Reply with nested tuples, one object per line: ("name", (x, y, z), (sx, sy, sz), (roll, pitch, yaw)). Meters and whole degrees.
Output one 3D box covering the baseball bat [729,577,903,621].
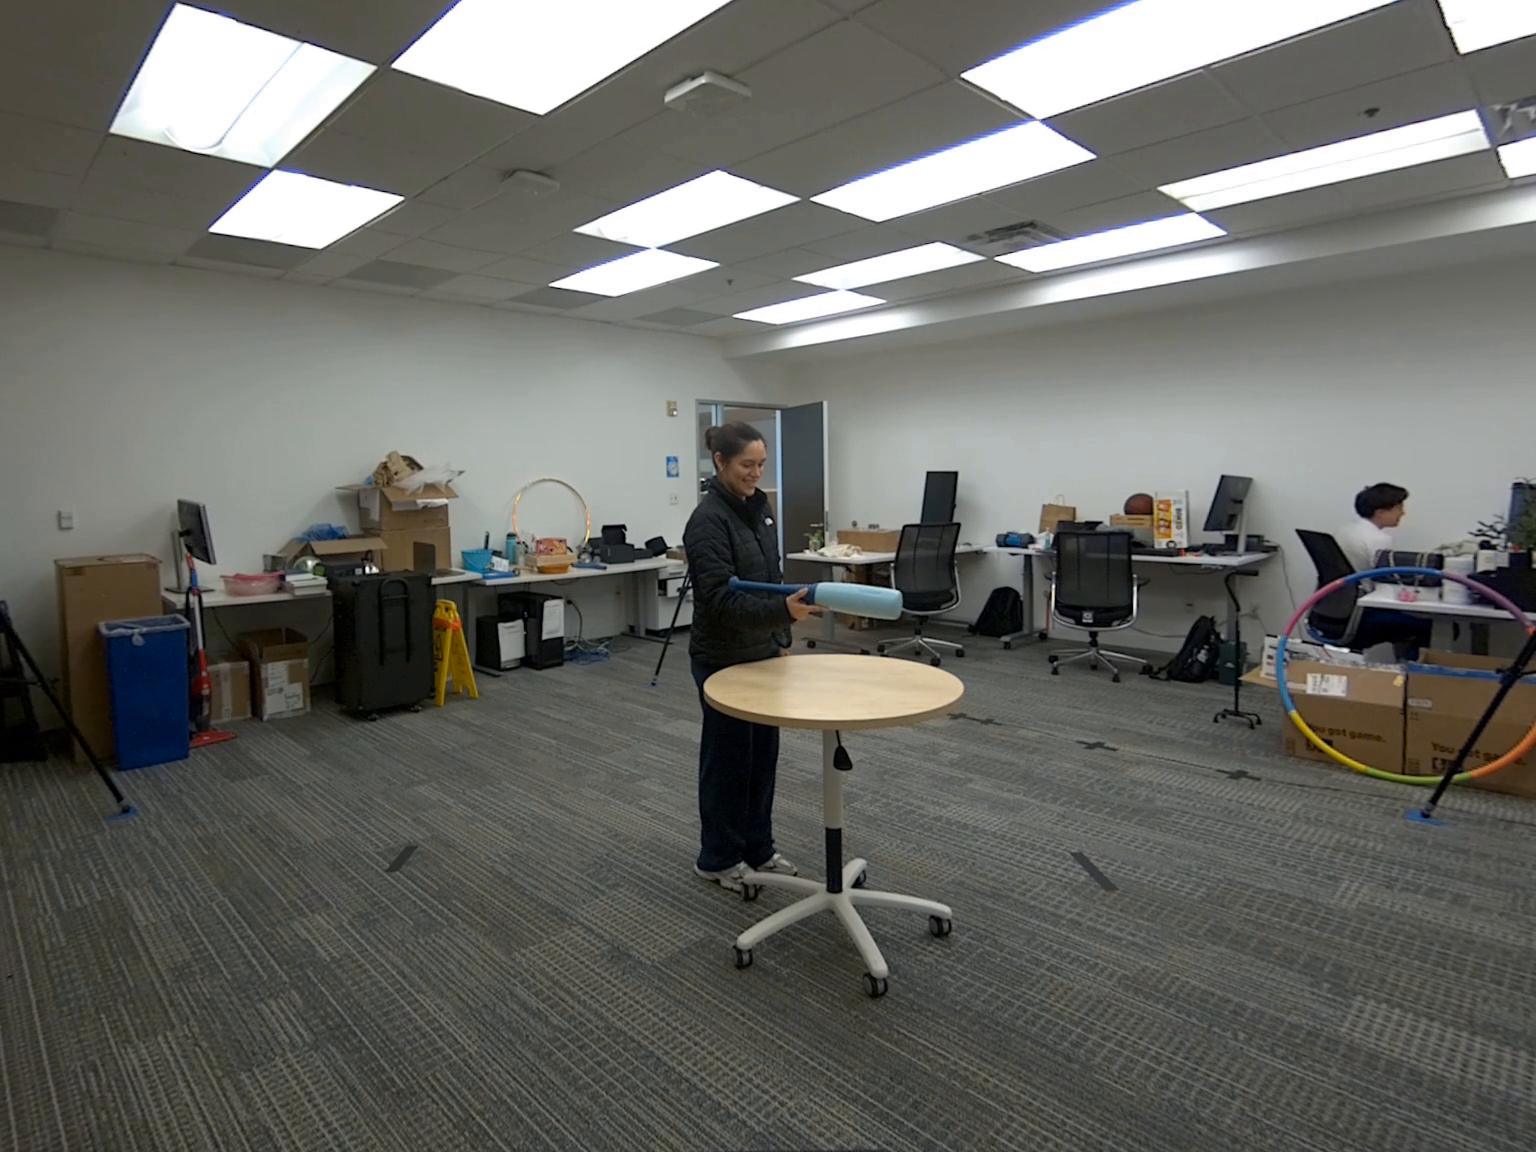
("baseball bat", (0.136, 0.057, 2.588), (0.556, 0.088, 0.087), (7, 7, 24))
